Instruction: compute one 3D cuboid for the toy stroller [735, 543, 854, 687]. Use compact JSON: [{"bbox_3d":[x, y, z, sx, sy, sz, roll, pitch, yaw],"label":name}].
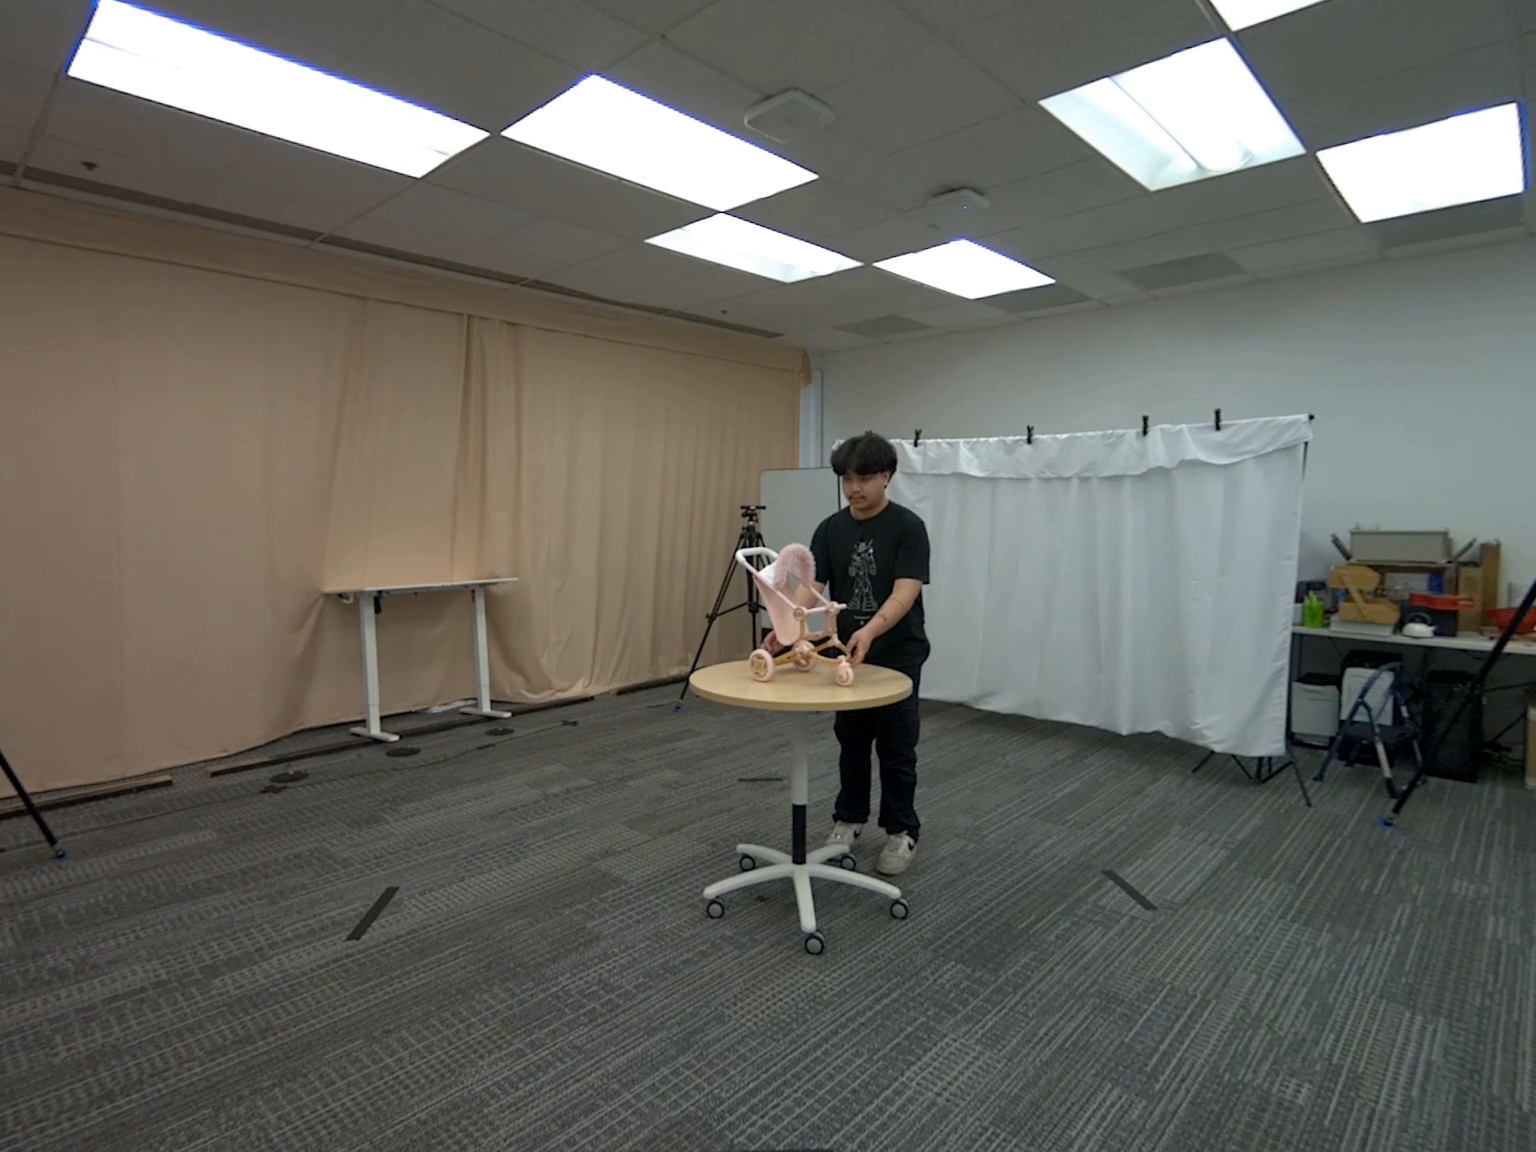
[{"bbox_3d":[0.109,0.130,2.897,0.273,0.538,0.350,-3,-10,-46],"label":"toy stroller"}]
